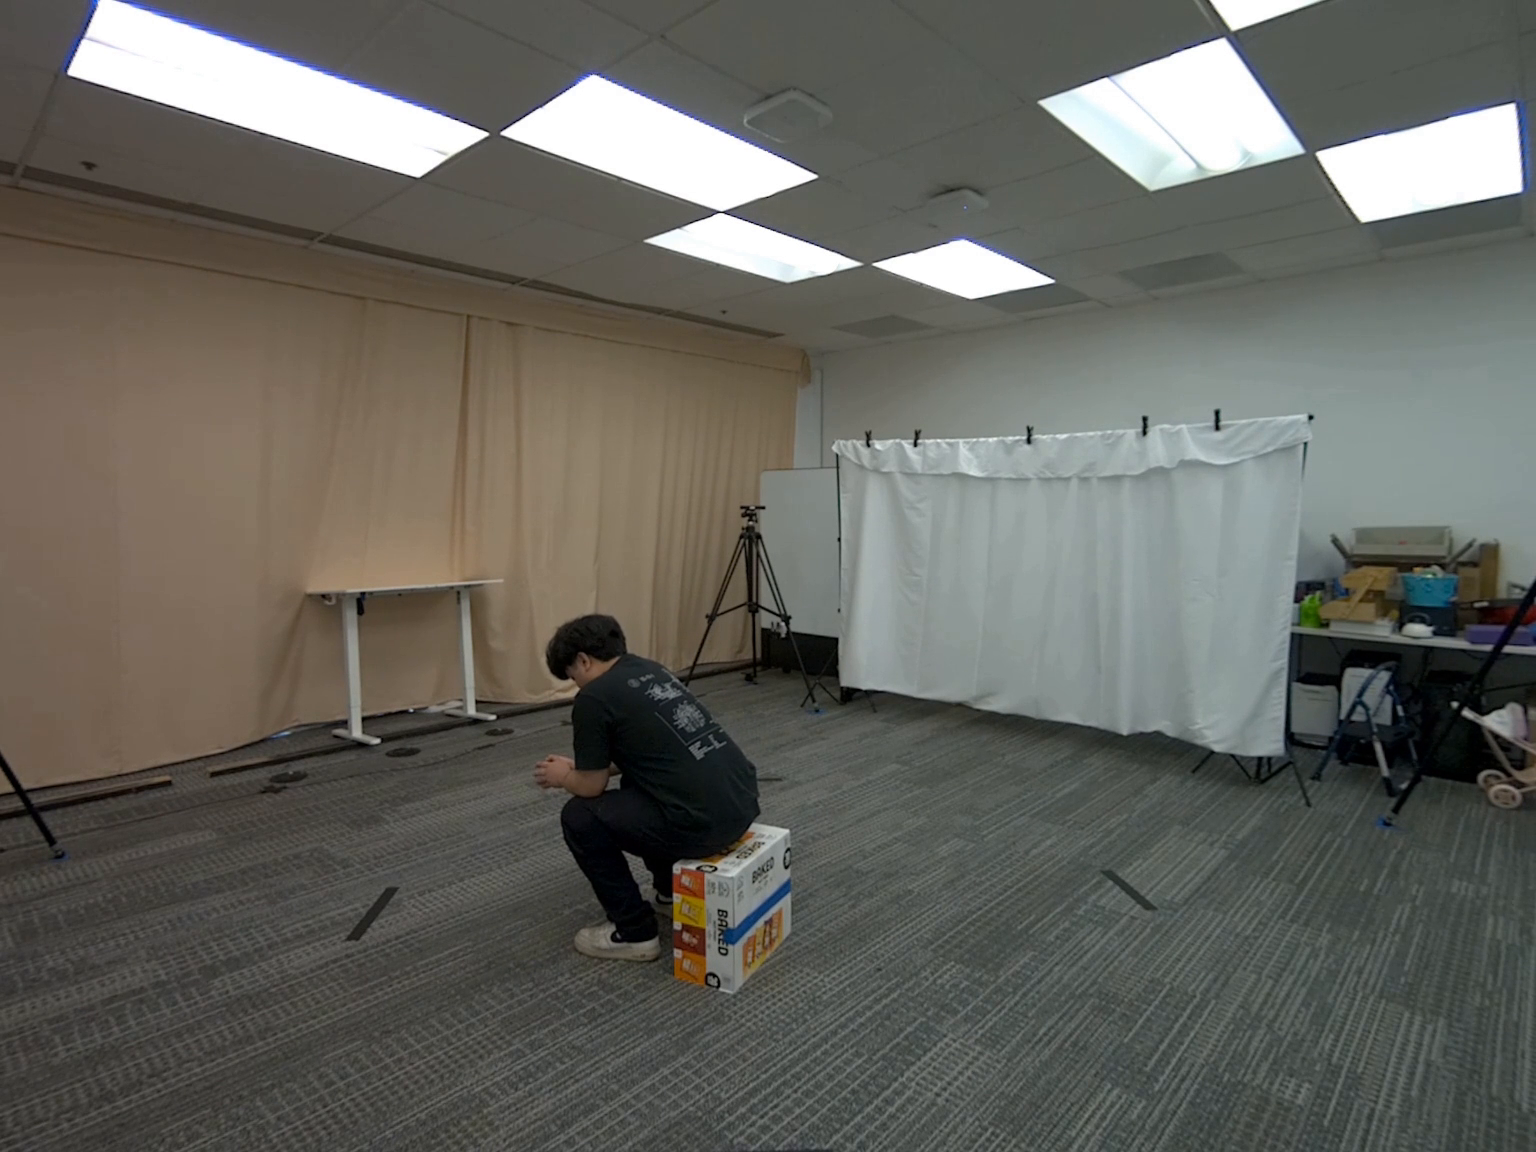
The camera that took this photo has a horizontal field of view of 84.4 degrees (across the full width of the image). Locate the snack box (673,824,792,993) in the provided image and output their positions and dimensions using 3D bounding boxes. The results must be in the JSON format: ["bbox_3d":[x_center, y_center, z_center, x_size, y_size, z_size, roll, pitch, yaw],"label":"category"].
[{"bbox_3d":[-0.097,1.011,2.612,0.211,0.339,0.395,3,4,27],"label":"snack box"}]
